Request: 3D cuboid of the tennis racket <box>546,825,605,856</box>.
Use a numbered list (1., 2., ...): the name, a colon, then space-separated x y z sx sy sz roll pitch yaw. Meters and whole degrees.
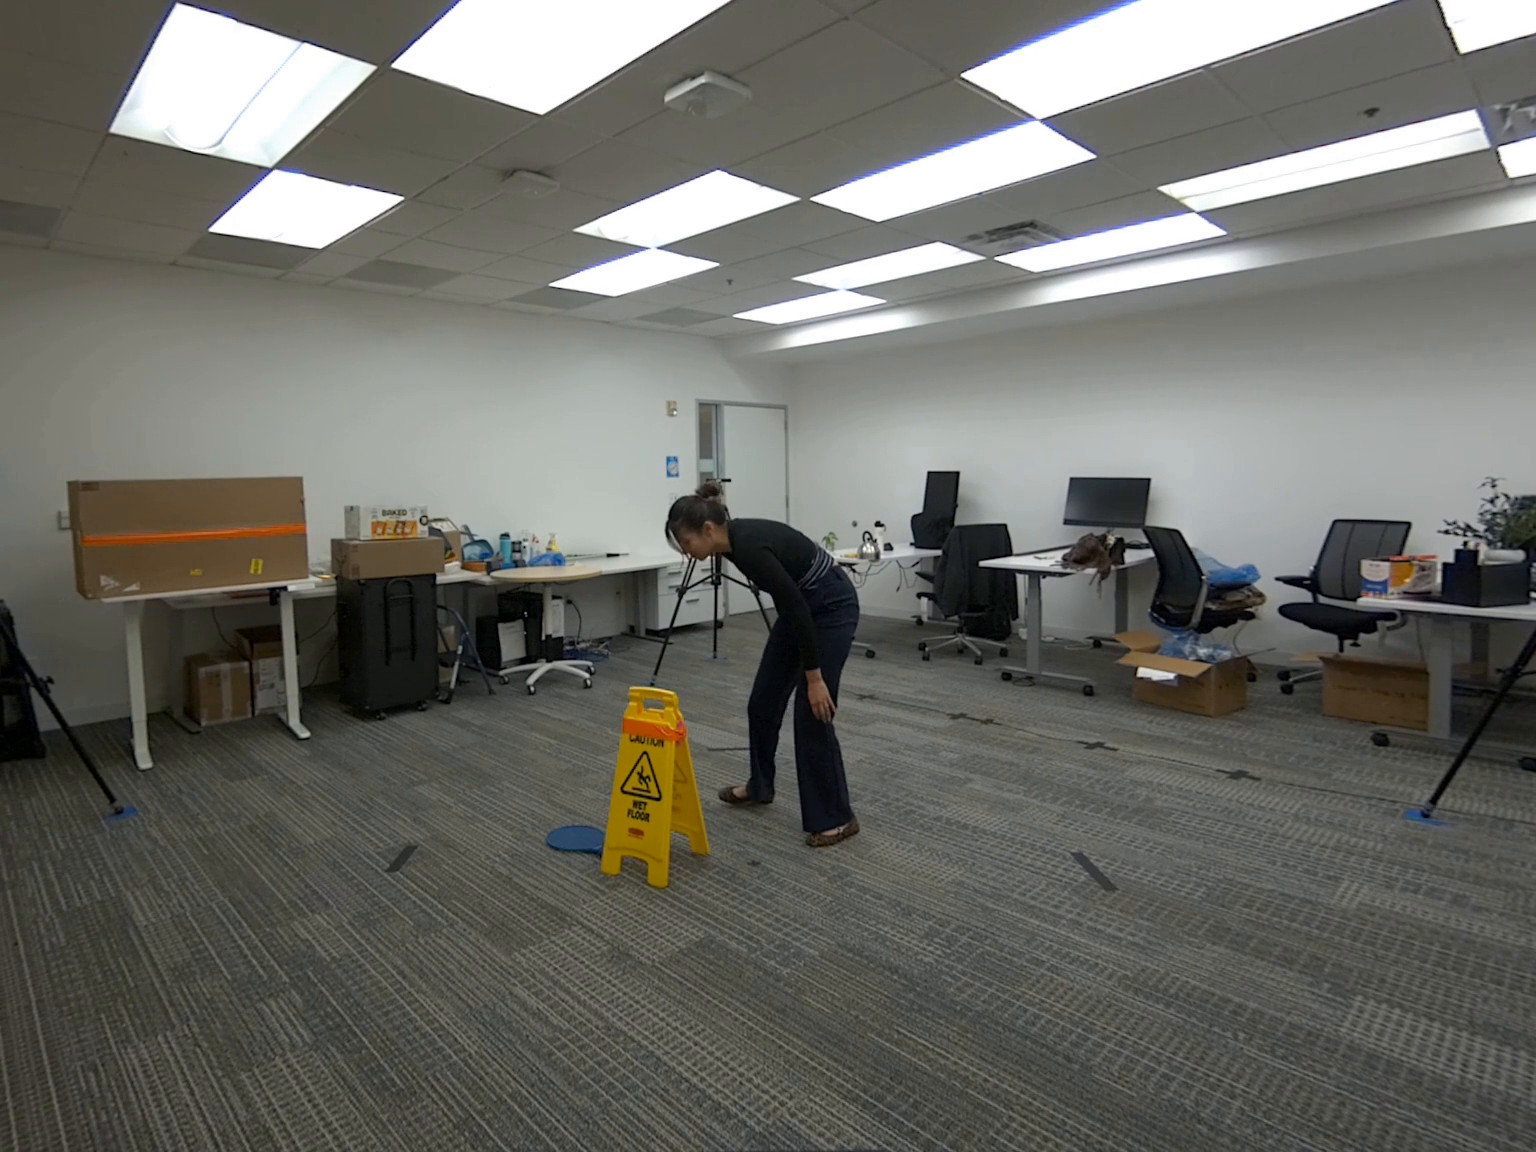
1. tennis racket: -0.687 1.027 3.266 0.208 0.031 0.446 -6 7 -42
